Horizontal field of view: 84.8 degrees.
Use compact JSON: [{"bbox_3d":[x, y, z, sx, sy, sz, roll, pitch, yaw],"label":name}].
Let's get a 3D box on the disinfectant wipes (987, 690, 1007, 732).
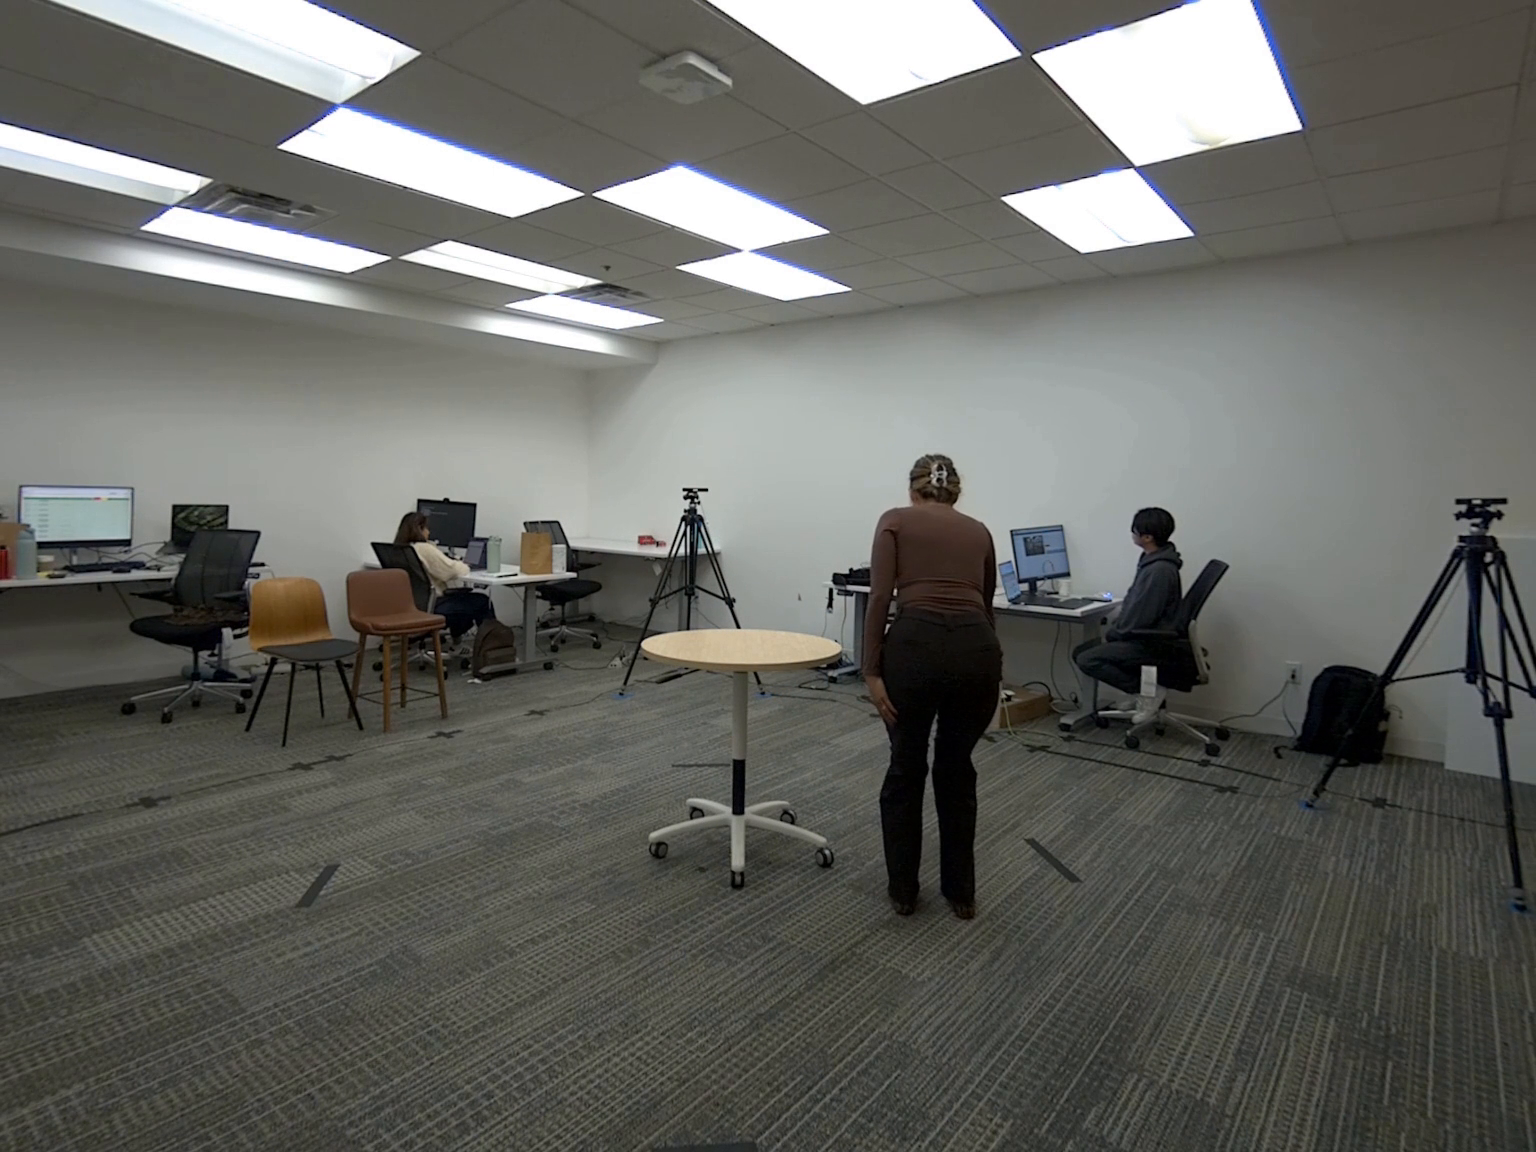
[{"bbox_3d":[0.845,0.487,3.307,0.118,0.218,0.118,4,-2,-2],"label":"disinfectant wipes"}]
